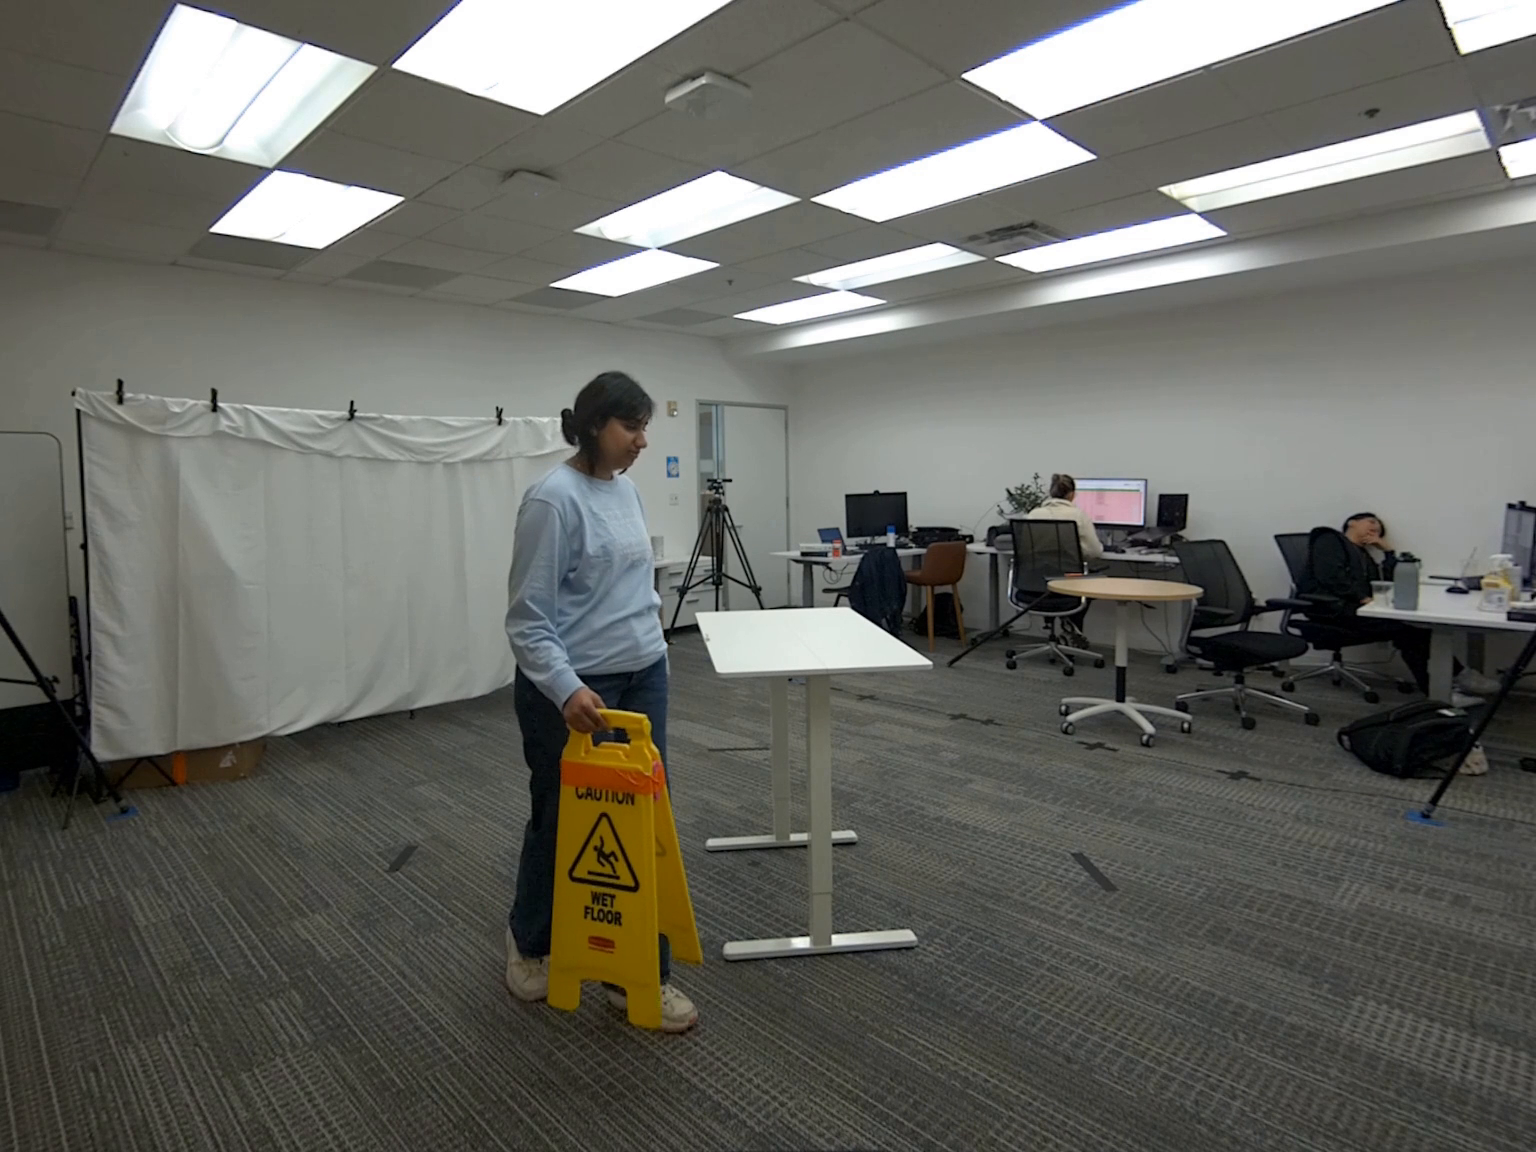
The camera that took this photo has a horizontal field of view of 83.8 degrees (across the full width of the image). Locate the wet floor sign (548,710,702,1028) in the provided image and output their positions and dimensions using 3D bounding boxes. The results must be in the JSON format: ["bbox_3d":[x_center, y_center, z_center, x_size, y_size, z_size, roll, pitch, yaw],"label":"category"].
[{"bbox_3d":[-0.331,0.628,1.932,0.287,0.643,0.286,-3,6,19],"label":"wet floor sign"}]
